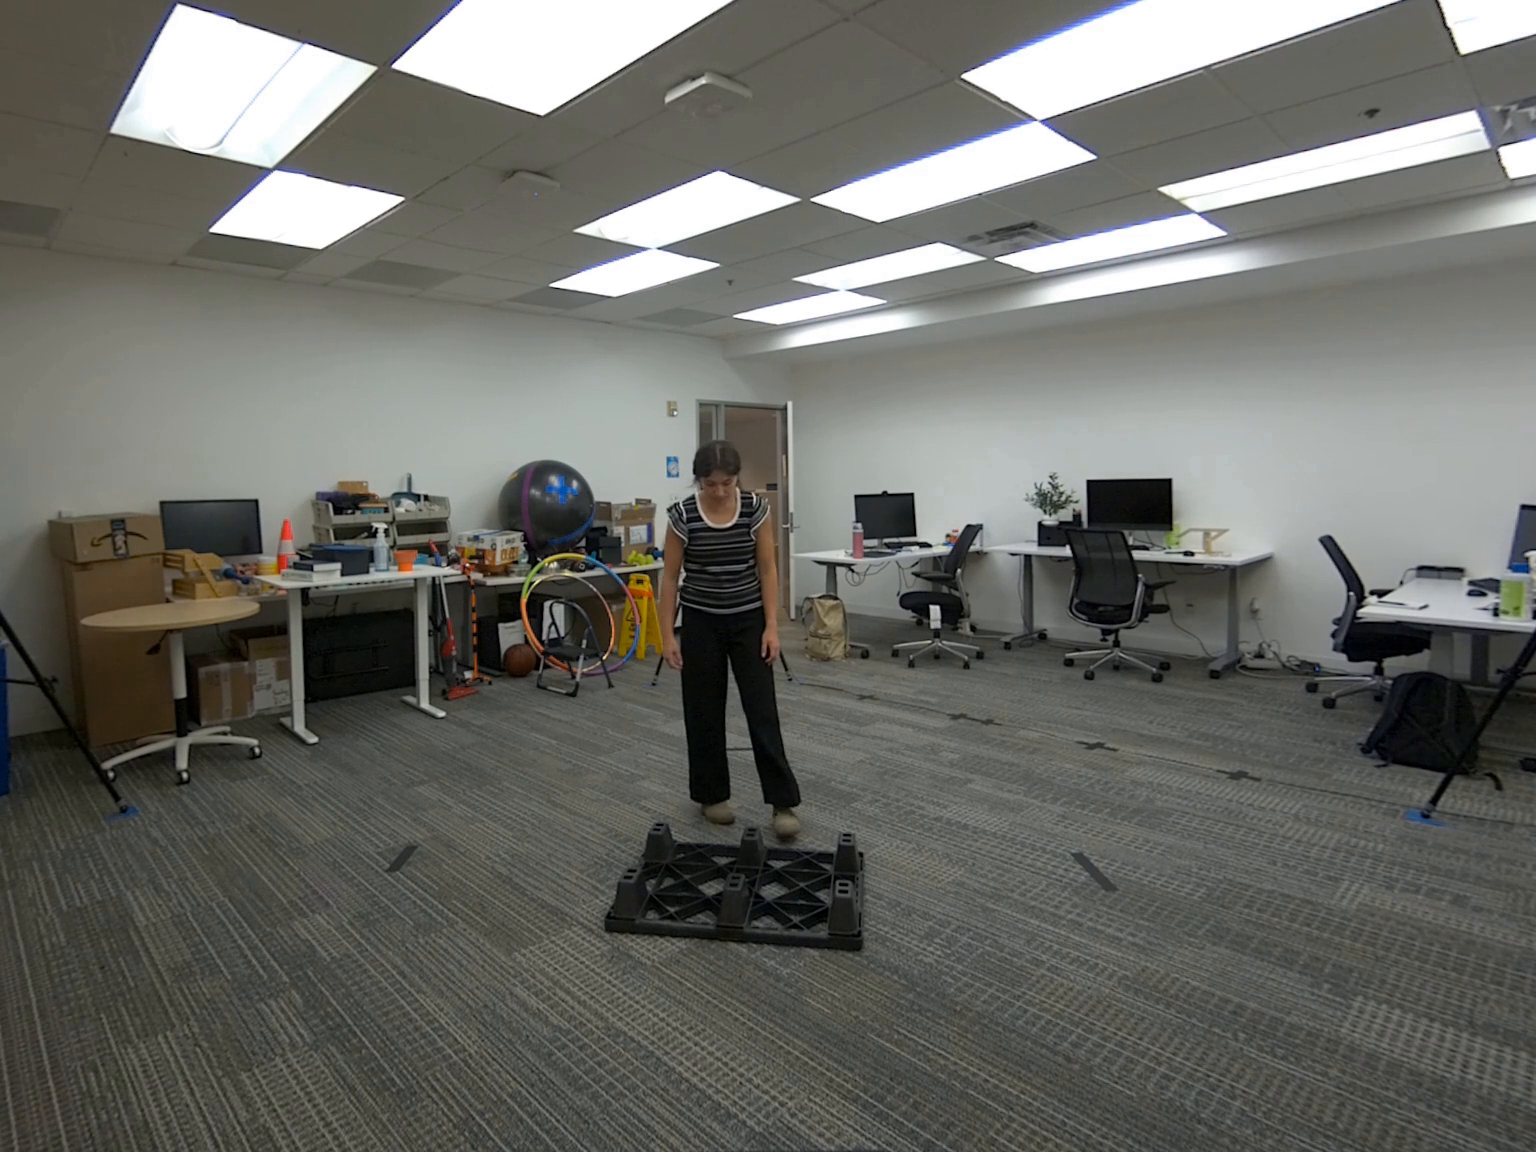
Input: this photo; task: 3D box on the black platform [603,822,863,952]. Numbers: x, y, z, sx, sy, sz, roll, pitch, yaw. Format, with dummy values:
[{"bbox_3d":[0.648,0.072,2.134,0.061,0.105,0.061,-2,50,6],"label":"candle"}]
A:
[{"bbox_3d":[-0.082,1.004,2.869,0.813,0.143,0.602,0,6,8],"label":"black platform"}]
